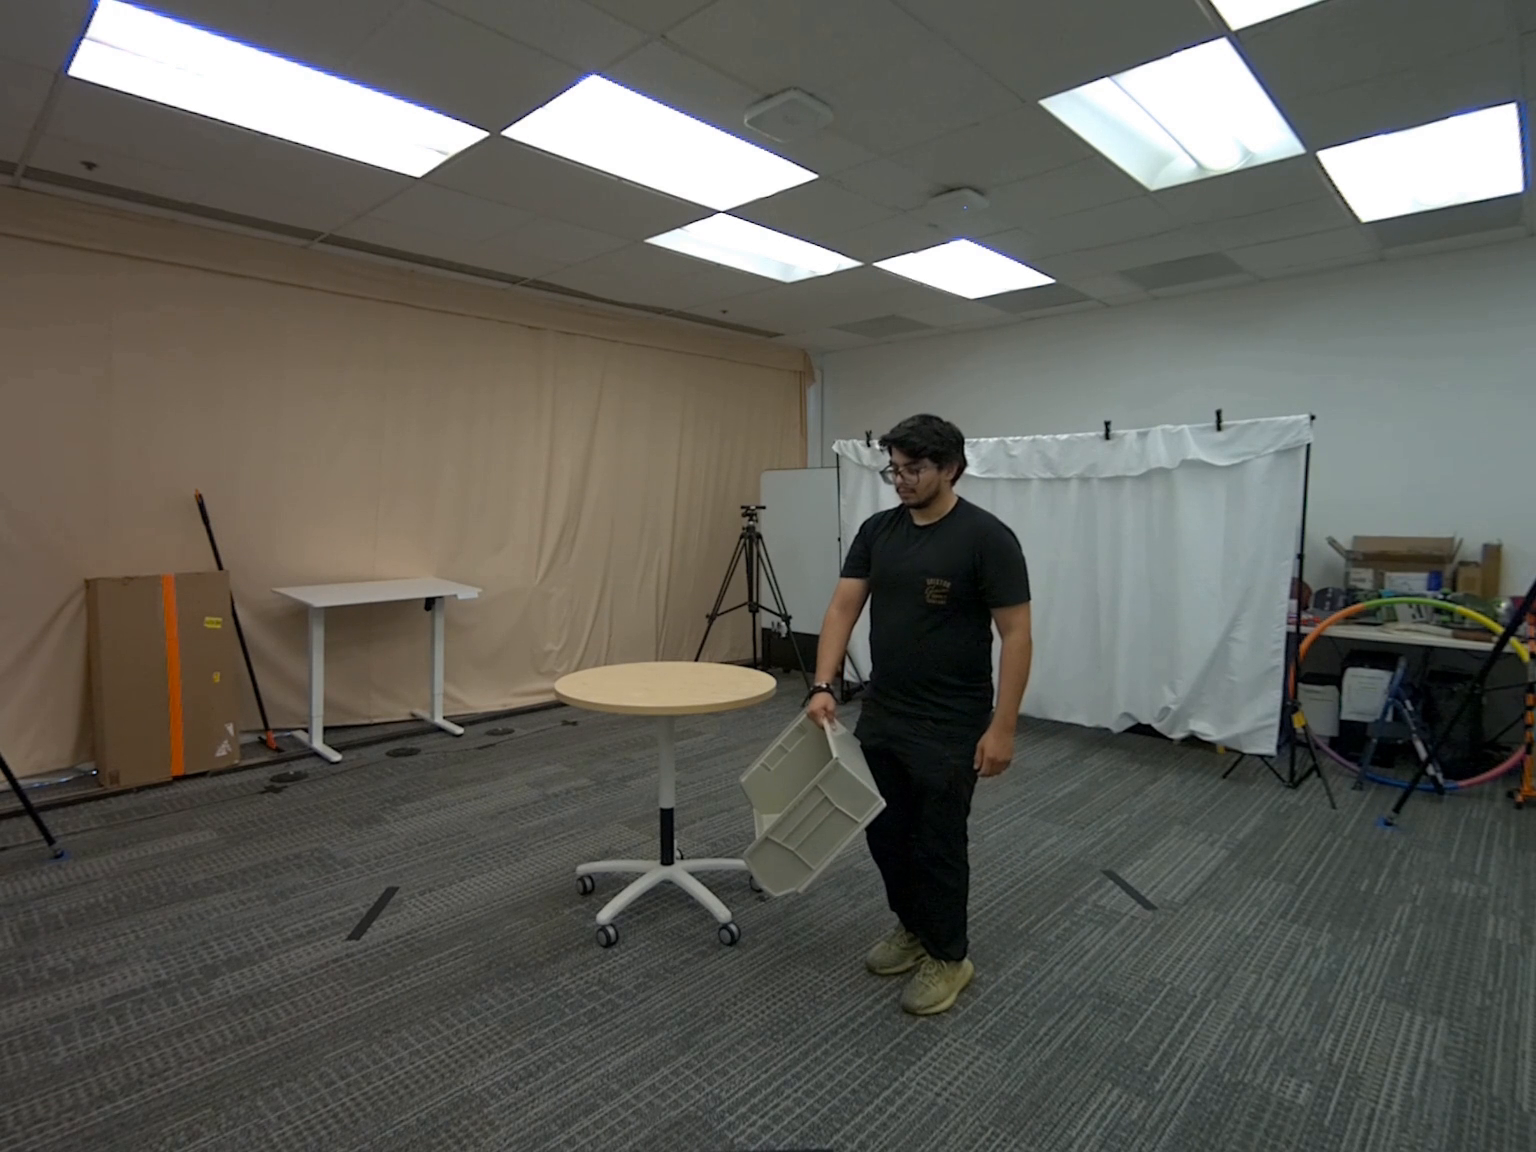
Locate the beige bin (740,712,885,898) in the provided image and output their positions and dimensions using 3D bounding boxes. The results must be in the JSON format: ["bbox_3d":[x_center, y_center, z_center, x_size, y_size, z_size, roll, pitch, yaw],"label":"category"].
[{"bbox_3d":[0.092,0.590,2.244,0.188,0.378,0.424,43,7,-7],"label":"beige bin"}]
